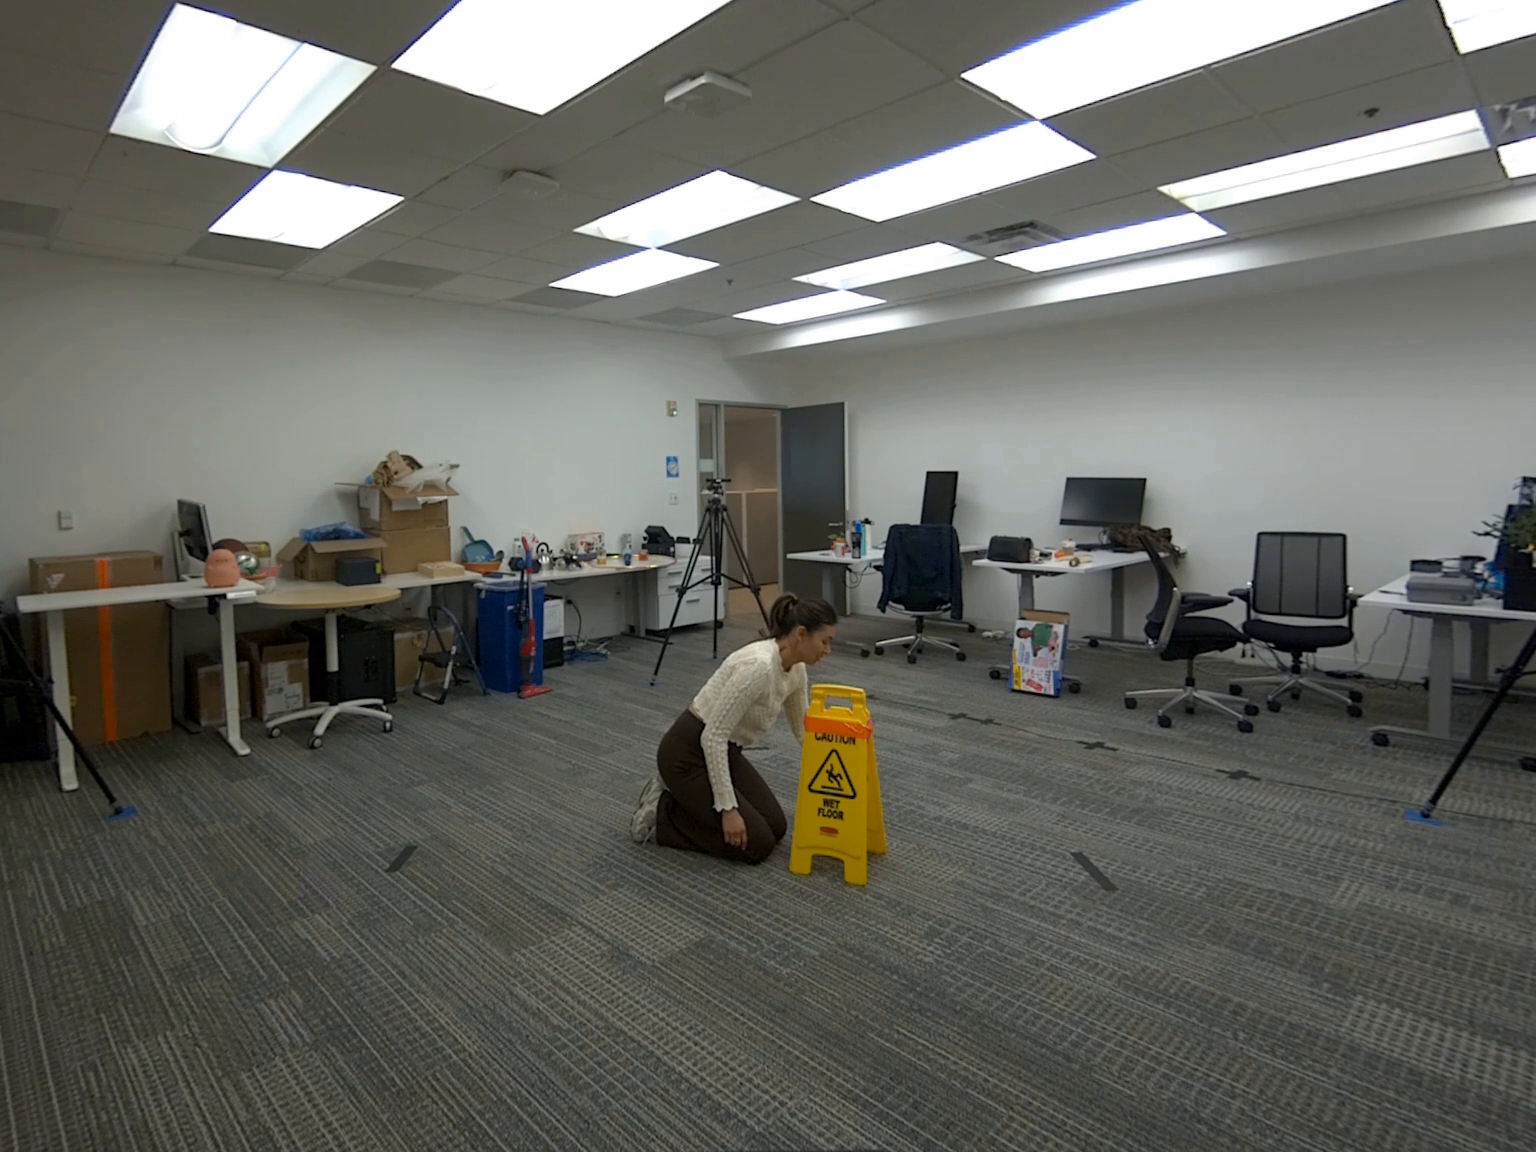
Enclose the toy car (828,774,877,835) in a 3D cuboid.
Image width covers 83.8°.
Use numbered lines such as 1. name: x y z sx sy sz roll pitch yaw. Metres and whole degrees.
1. toy car: 0.320 0.866 3.252 0.133 0.246 0.084 5 47 22
